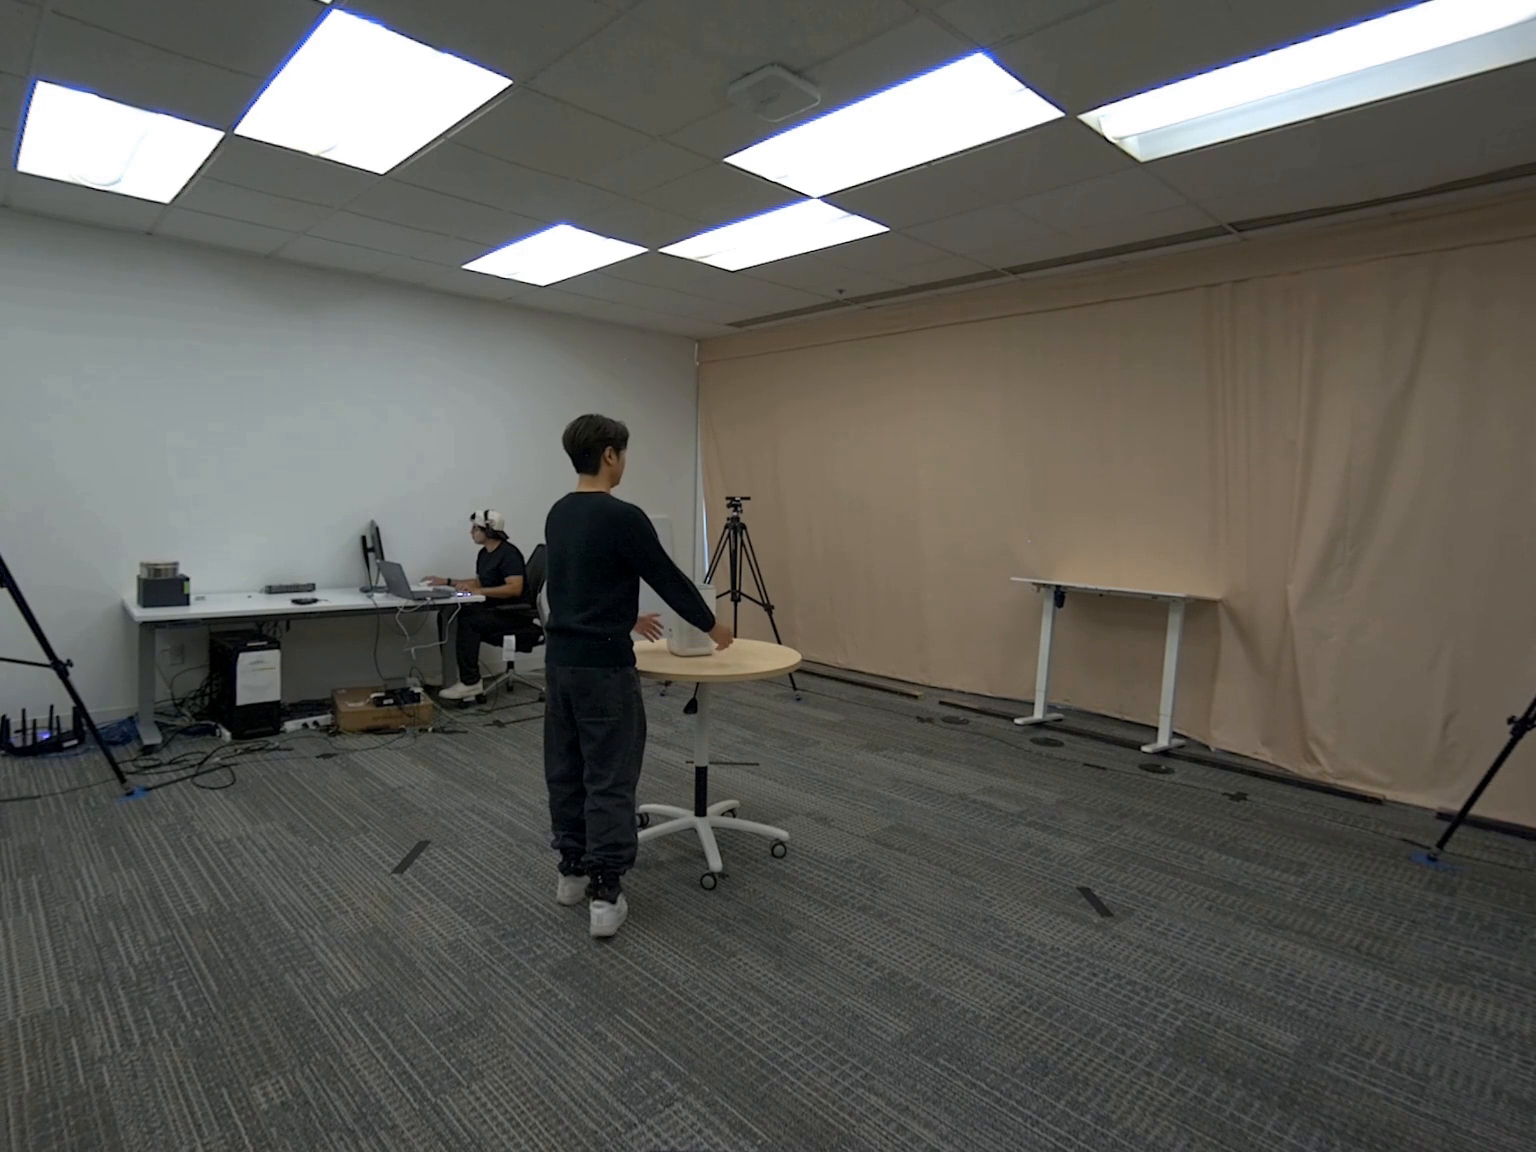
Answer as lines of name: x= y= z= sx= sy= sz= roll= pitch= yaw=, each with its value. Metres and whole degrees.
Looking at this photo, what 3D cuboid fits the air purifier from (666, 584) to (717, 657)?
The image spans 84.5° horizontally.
air purifier: x=-0.305 y=0.172 z=3.286 sx=0.168 sy=0.265 sz=0.174 roll=0 pitch=3 yaw=-25
